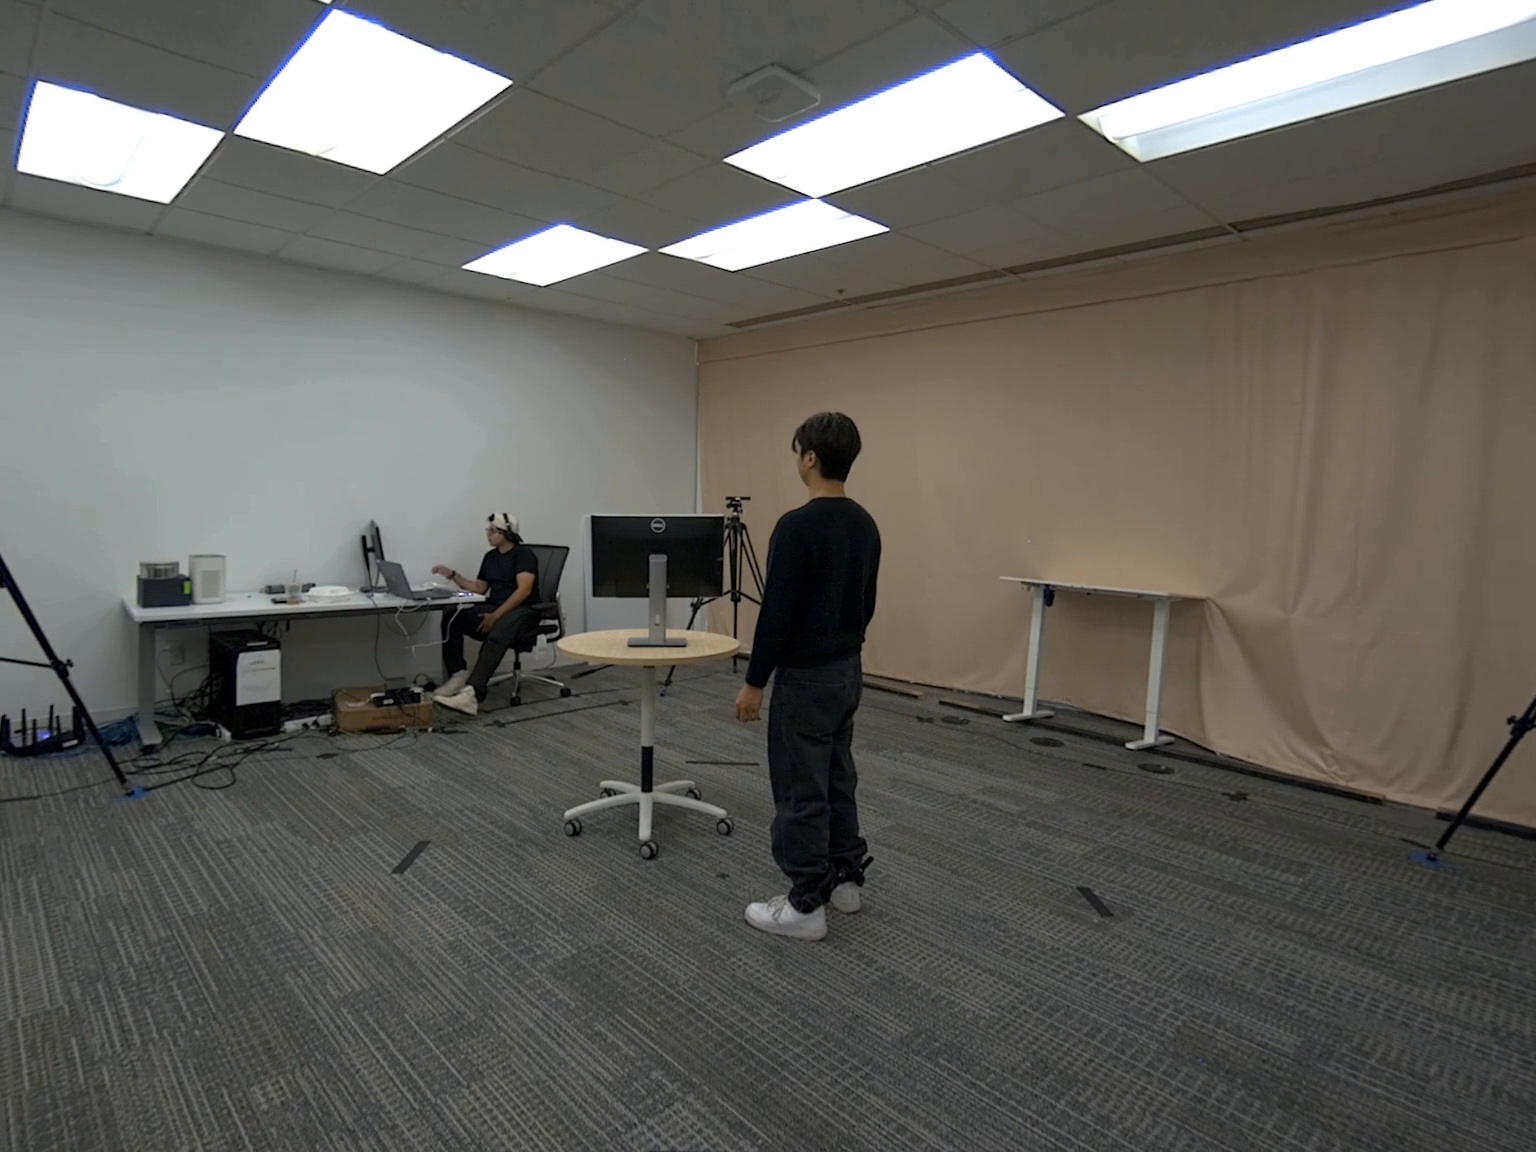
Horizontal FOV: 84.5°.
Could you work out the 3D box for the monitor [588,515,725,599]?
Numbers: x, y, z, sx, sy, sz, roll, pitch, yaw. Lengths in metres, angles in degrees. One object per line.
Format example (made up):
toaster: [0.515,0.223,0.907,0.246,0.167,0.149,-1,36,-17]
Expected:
monitor: [-0.462,0.015,3.516,0.527,0.516,0.175,0,0,-6]
